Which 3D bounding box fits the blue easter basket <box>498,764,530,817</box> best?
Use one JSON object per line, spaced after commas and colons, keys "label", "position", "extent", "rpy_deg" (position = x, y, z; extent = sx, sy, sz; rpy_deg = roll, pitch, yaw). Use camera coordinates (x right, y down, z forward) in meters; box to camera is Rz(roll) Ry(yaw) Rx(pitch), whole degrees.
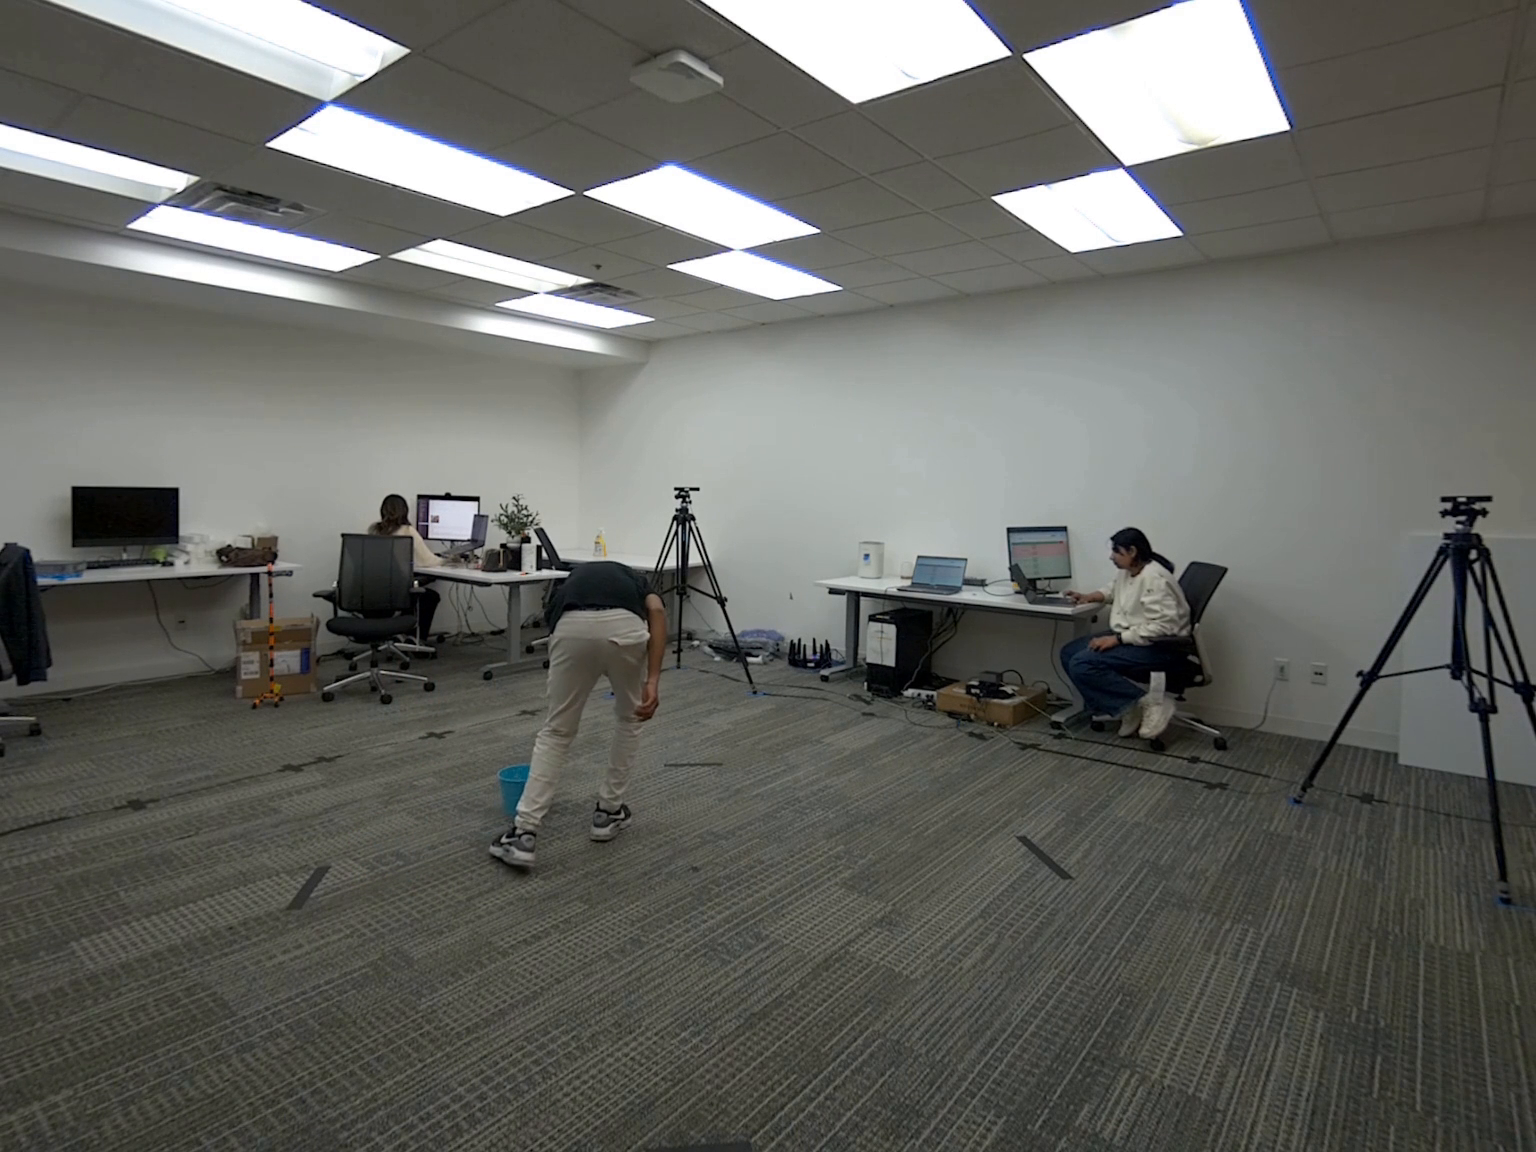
{"label": "blue easter basket", "position": [-1.054, 0.919, 3.669], "extent": [0.243, 0.155, 0.245], "rpy_deg": [0, 4, -2]}
